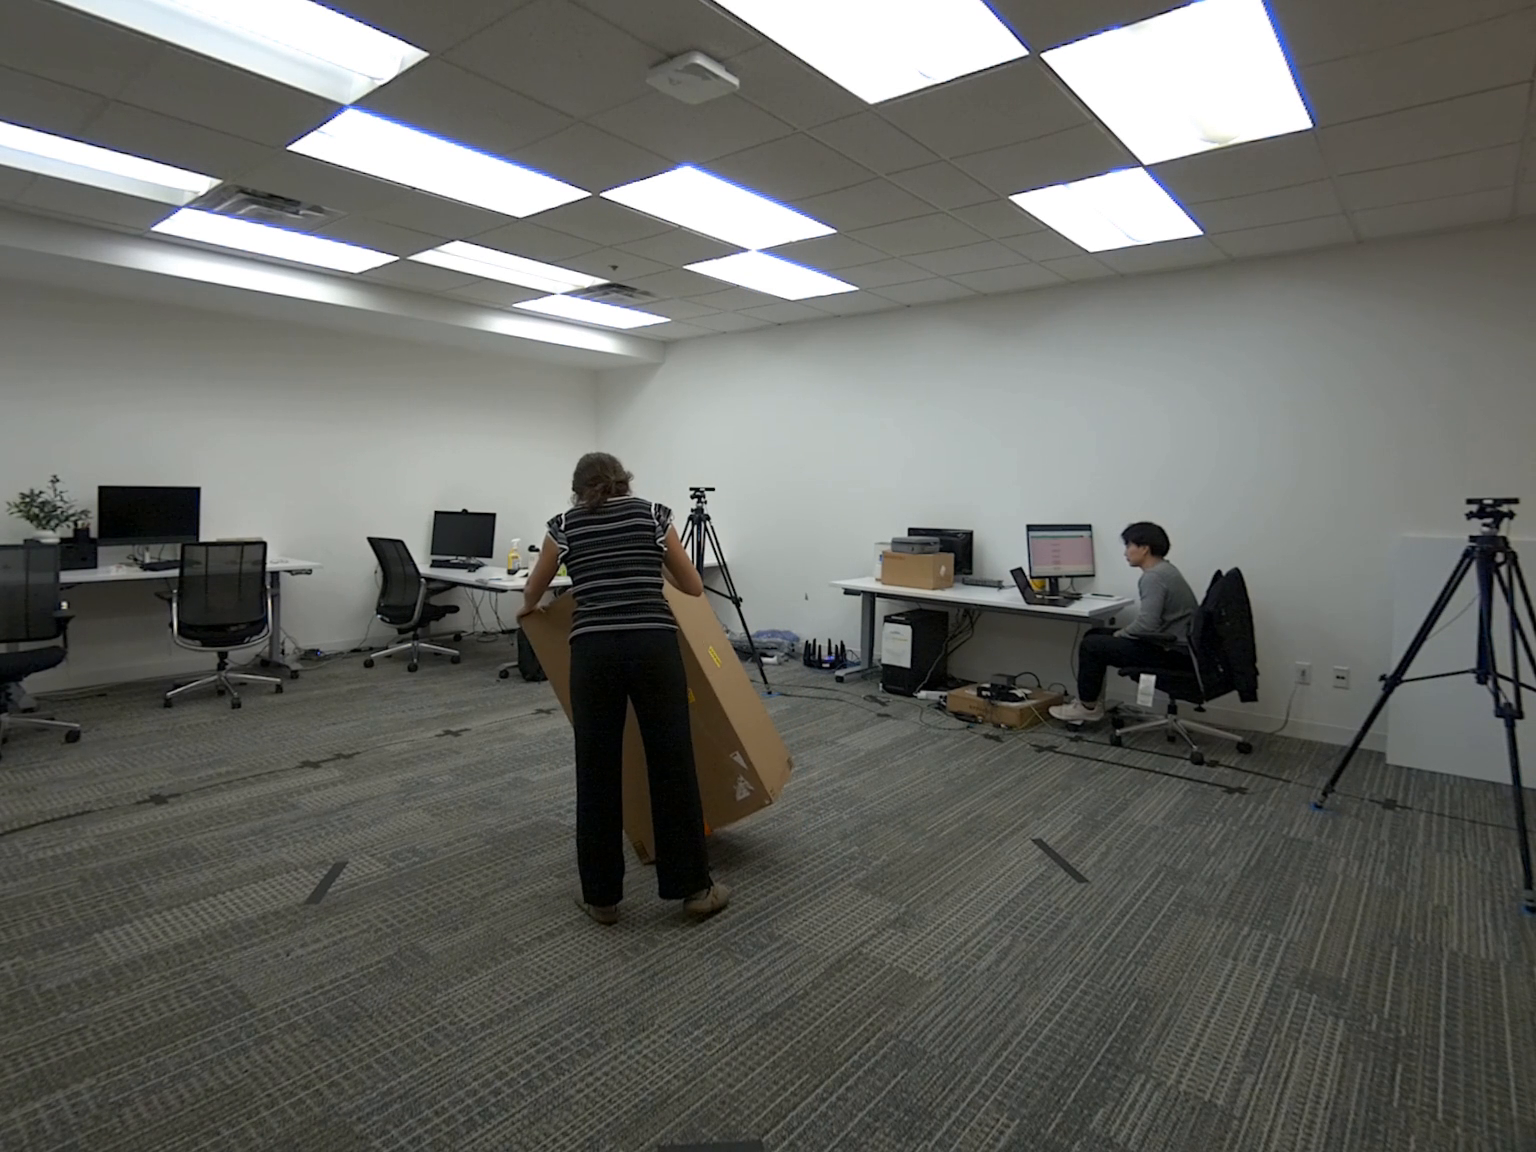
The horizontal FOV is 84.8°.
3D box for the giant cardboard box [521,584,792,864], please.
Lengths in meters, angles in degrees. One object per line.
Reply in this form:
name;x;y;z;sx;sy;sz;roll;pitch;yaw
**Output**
giant cardboard box;-0.428;0.464;3.305;0.581;1.033;0.420;-30;-5;15
